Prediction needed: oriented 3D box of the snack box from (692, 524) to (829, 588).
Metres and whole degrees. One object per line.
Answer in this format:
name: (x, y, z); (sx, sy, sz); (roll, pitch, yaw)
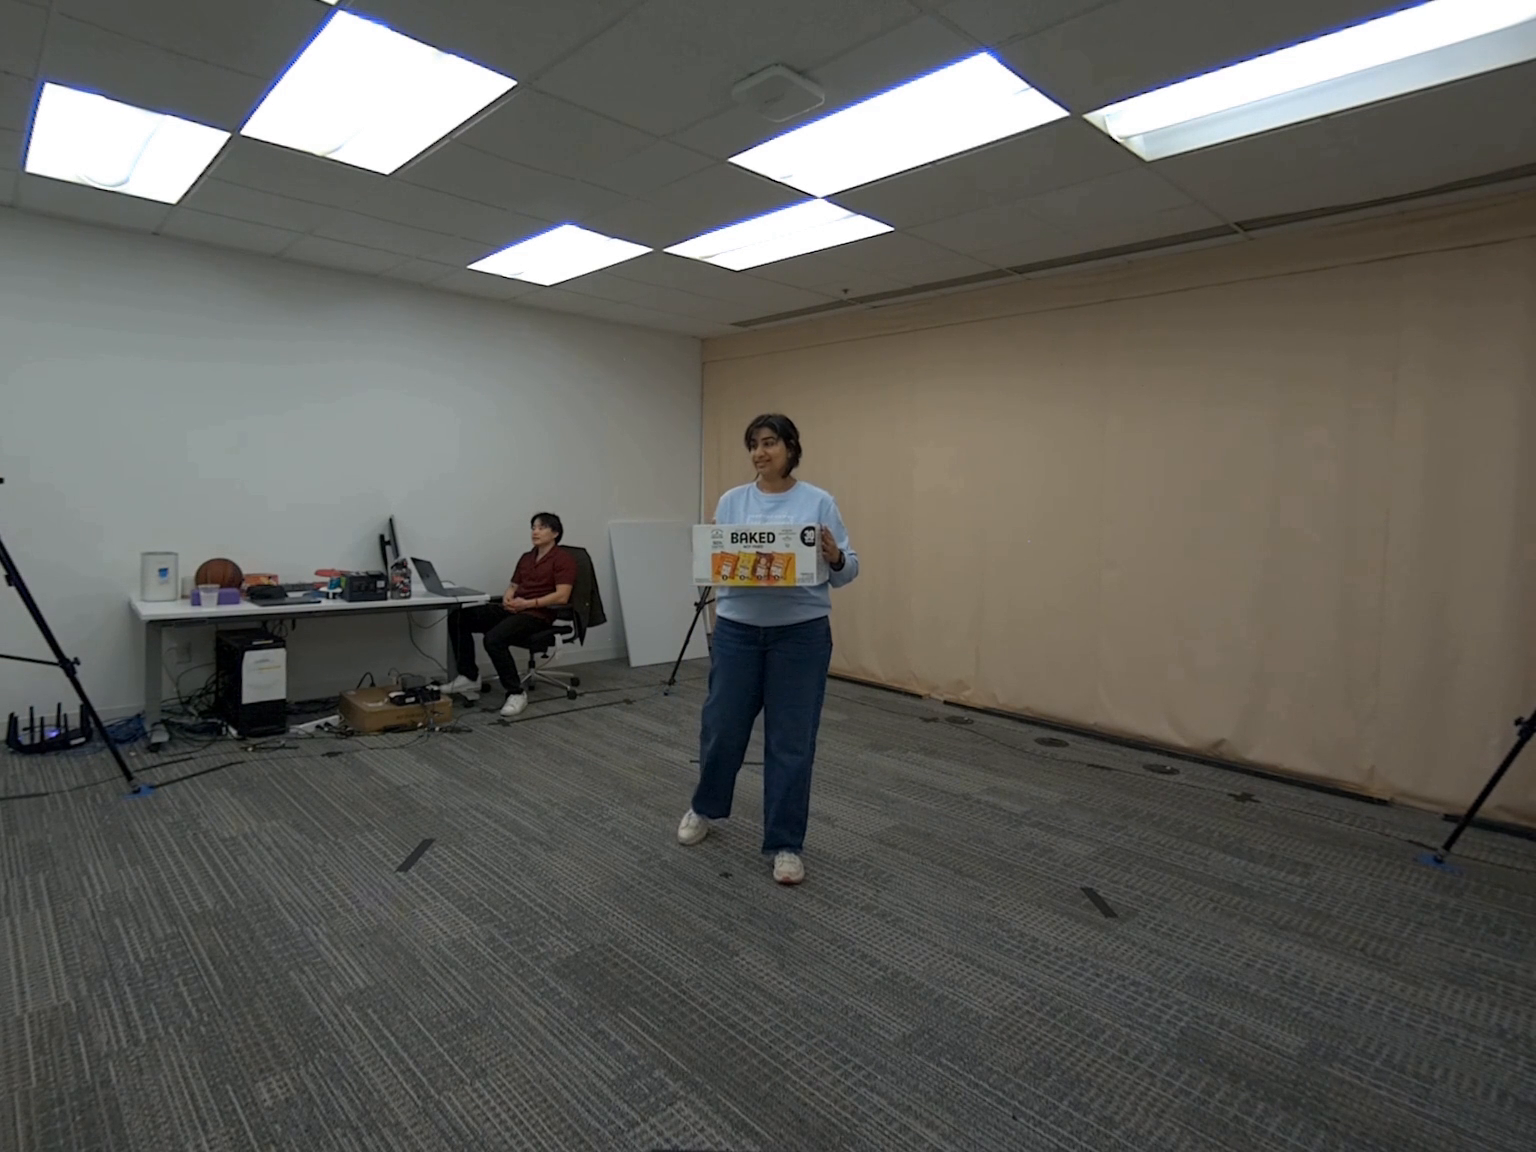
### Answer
snack box: (-0.028, -0.072, 2.879); (0.409, 0.205, 0.337); (0, 2, 12)
